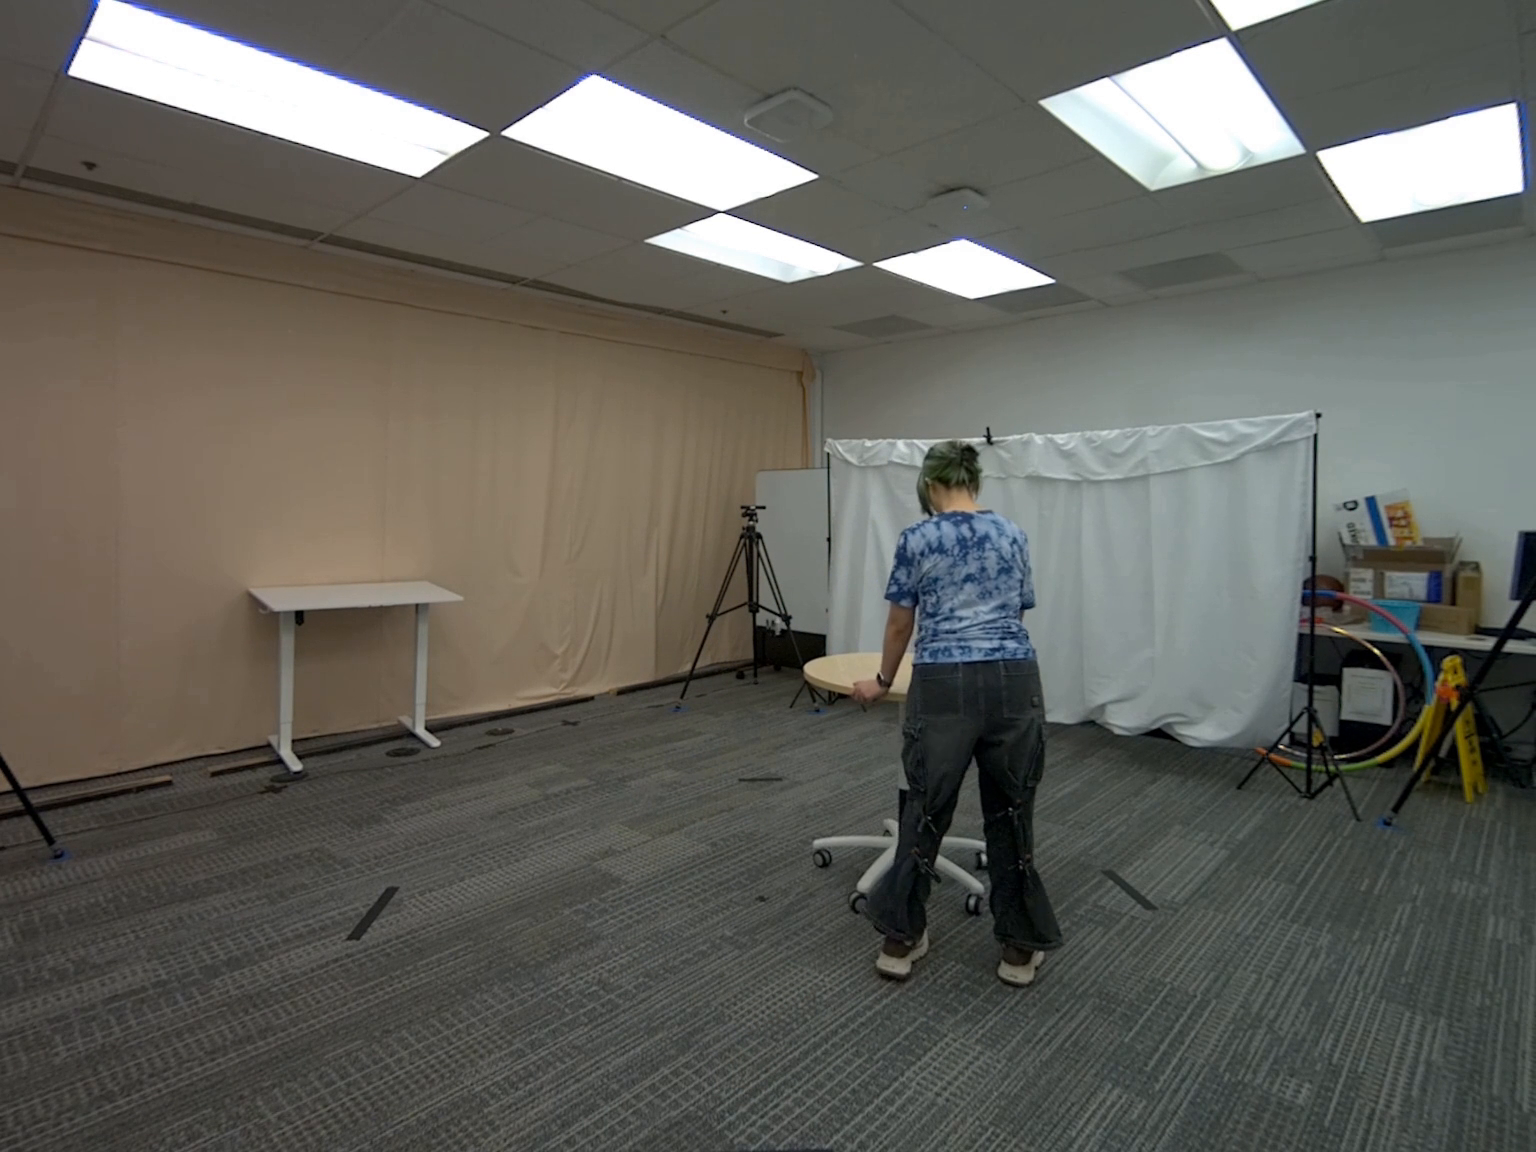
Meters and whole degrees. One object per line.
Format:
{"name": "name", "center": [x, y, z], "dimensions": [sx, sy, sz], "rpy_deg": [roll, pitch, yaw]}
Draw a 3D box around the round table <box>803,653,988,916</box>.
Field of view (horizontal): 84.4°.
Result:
{"name": "round table", "center": [0.517, 0.741, 3.139], "dimensions": [0.763, 0.792, 0.767], "rpy_deg": [0, 4, -2]}
